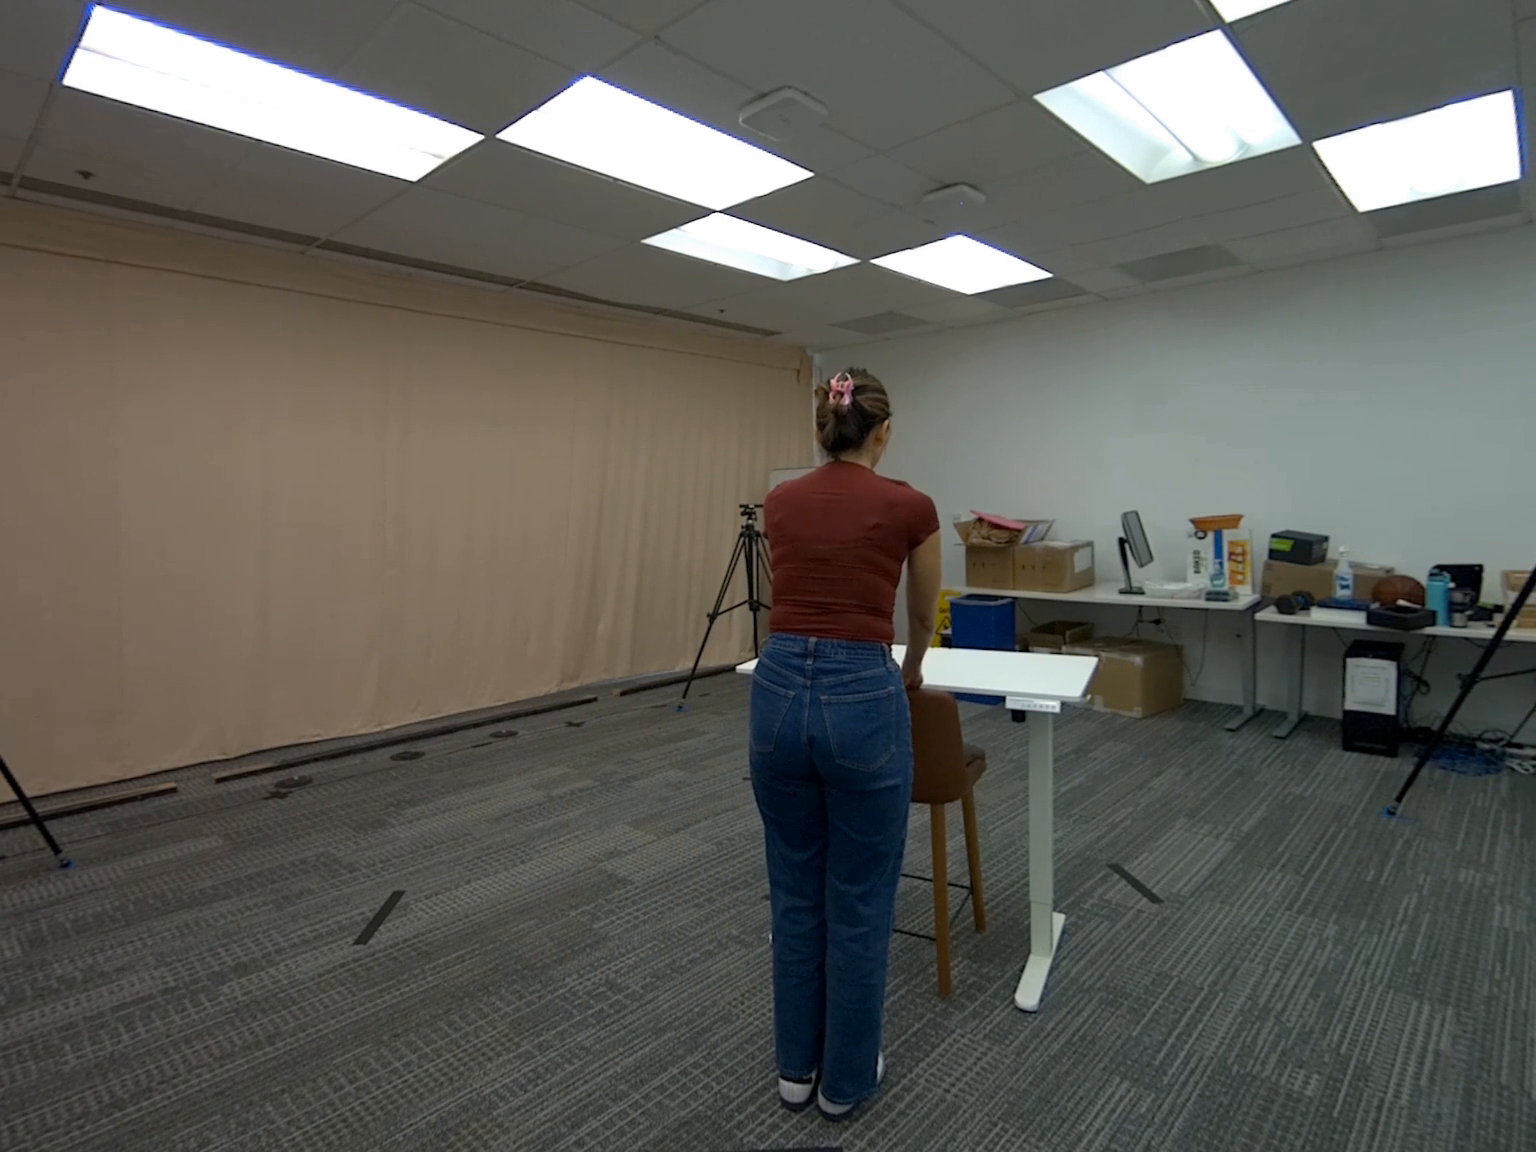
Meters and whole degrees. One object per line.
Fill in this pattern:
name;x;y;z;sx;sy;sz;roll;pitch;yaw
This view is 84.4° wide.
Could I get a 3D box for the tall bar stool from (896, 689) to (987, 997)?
tall bar stool;0.425;0.734;2.609;0.468;0.886;0.457;1;6;26
